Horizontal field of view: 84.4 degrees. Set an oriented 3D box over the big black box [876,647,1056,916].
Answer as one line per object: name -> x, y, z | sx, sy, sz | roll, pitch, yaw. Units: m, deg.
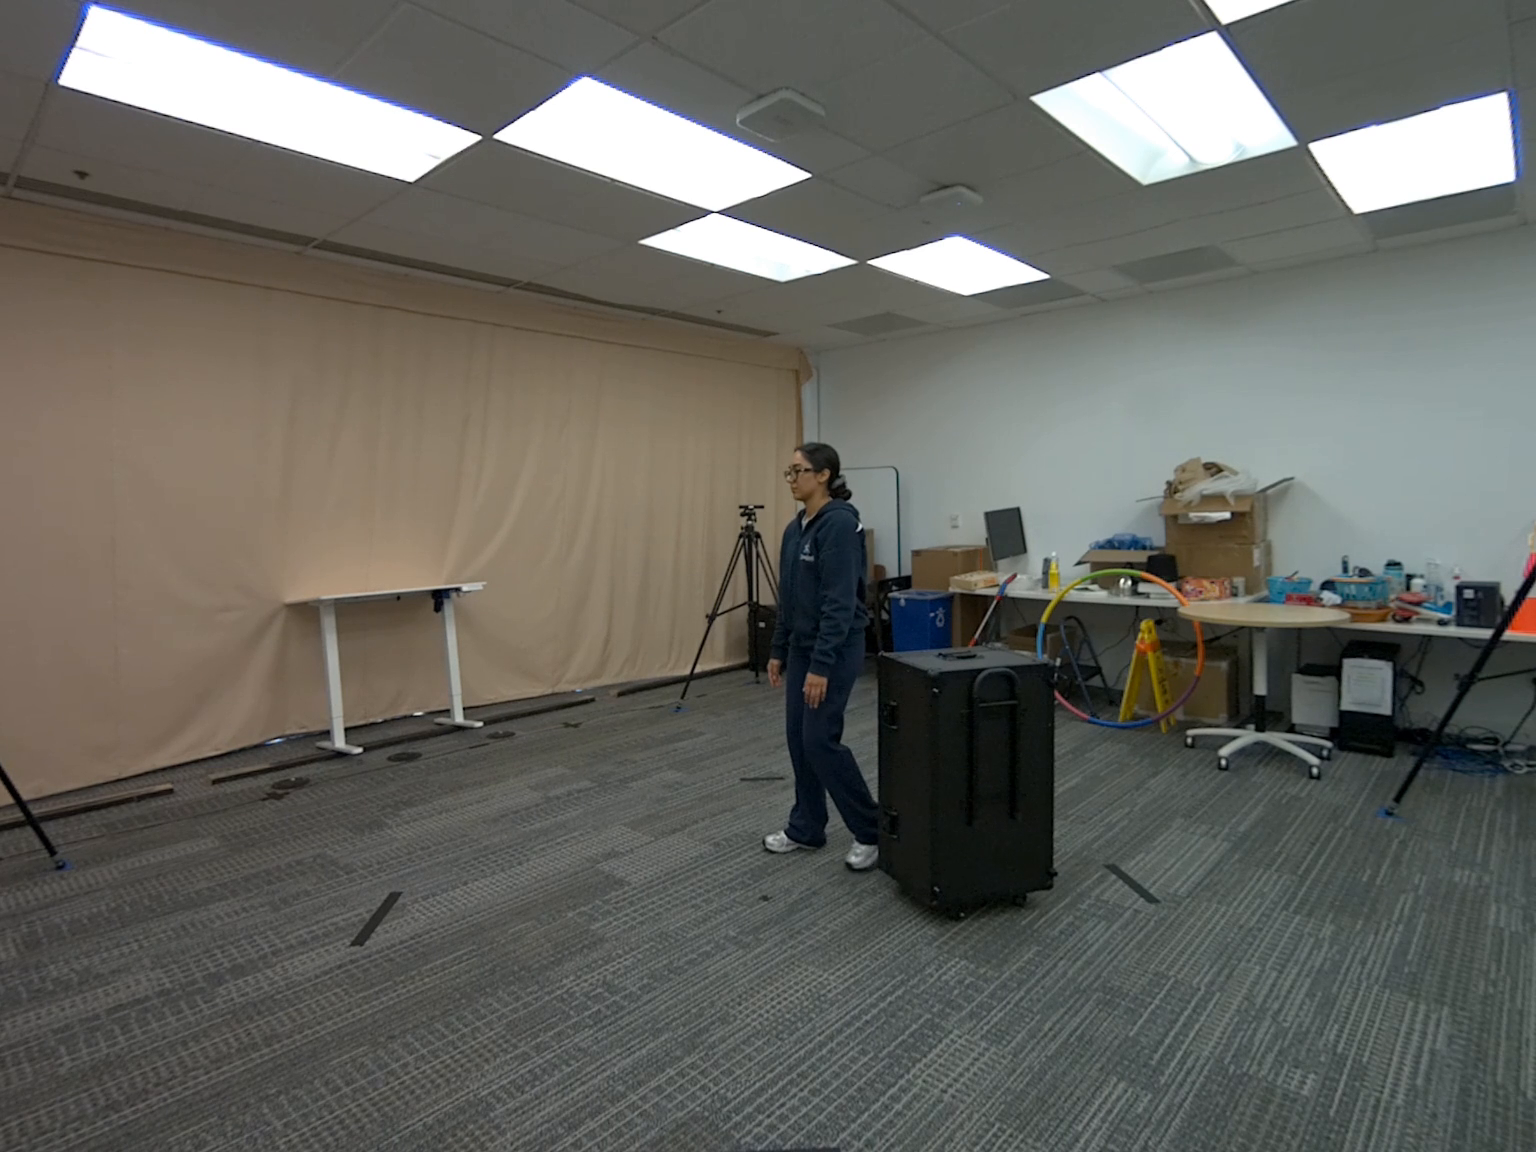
big black box -> 0.702, 0.712, 2.926 | 0.511, 0.859, 0.405 | -1, 5, -20
